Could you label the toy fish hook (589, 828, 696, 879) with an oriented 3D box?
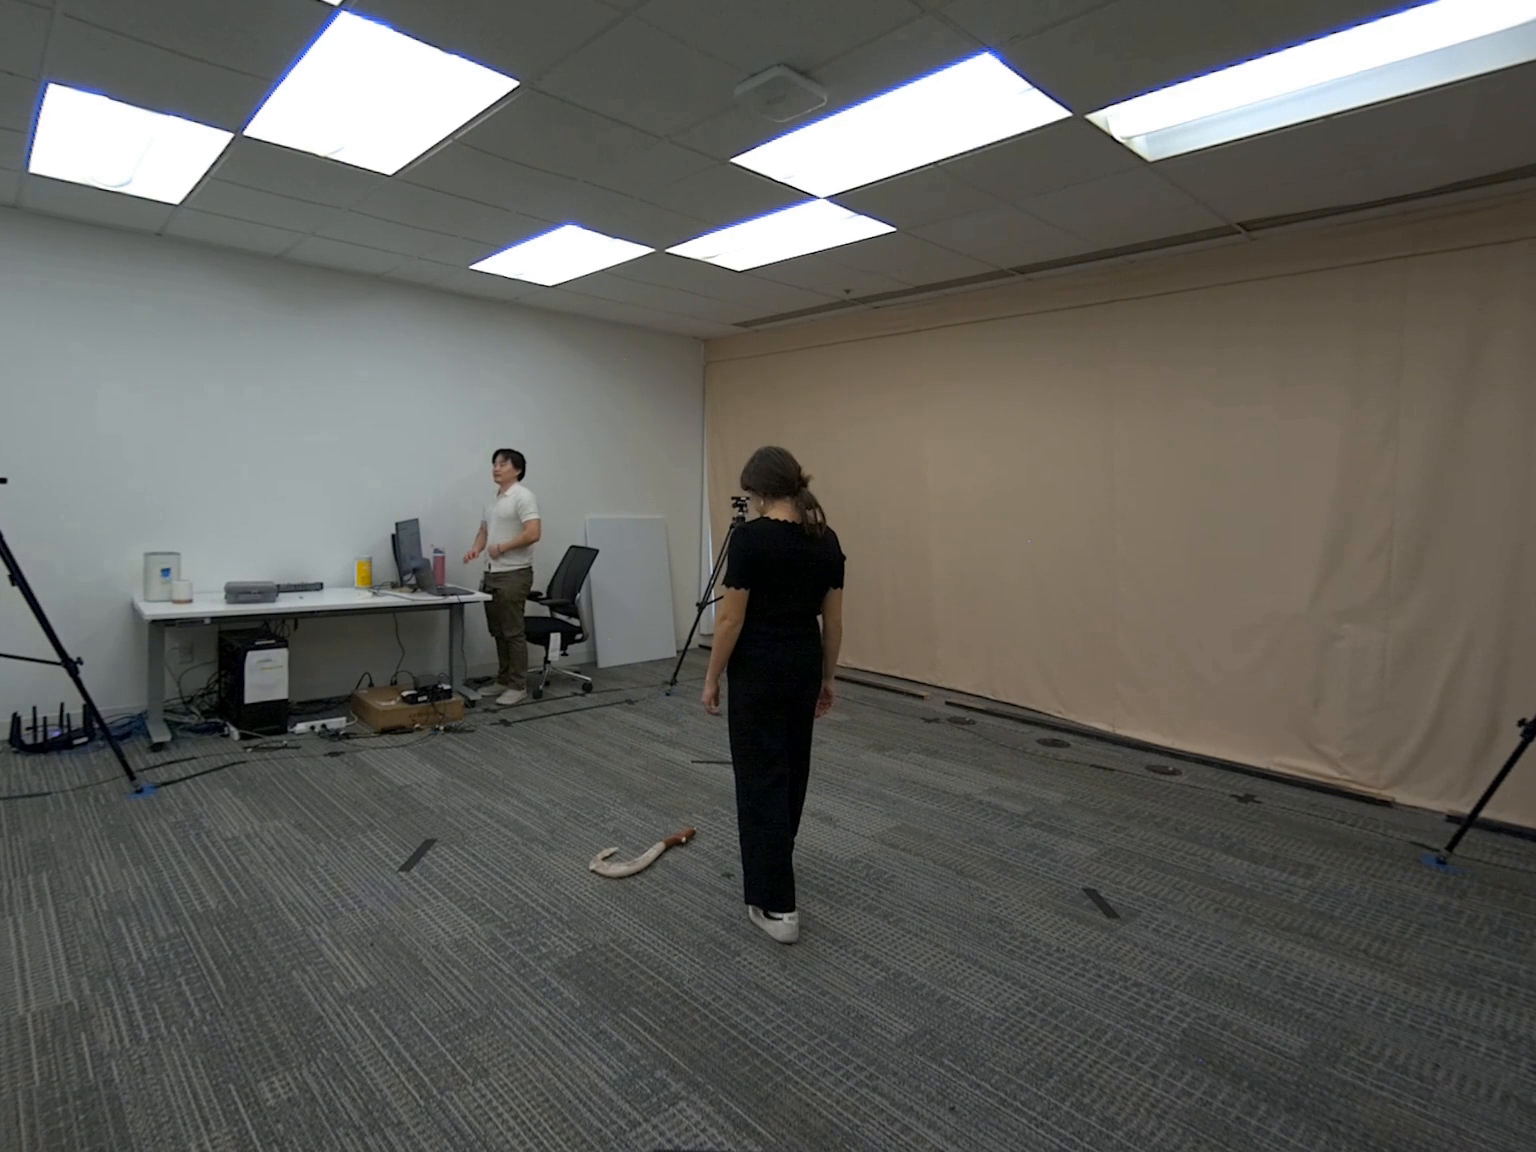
[{"bbox_3d":[-0.490,1.059,3.280,0.230,0.048,0.496,7,7,33],"label":"toy fish hook"}]
